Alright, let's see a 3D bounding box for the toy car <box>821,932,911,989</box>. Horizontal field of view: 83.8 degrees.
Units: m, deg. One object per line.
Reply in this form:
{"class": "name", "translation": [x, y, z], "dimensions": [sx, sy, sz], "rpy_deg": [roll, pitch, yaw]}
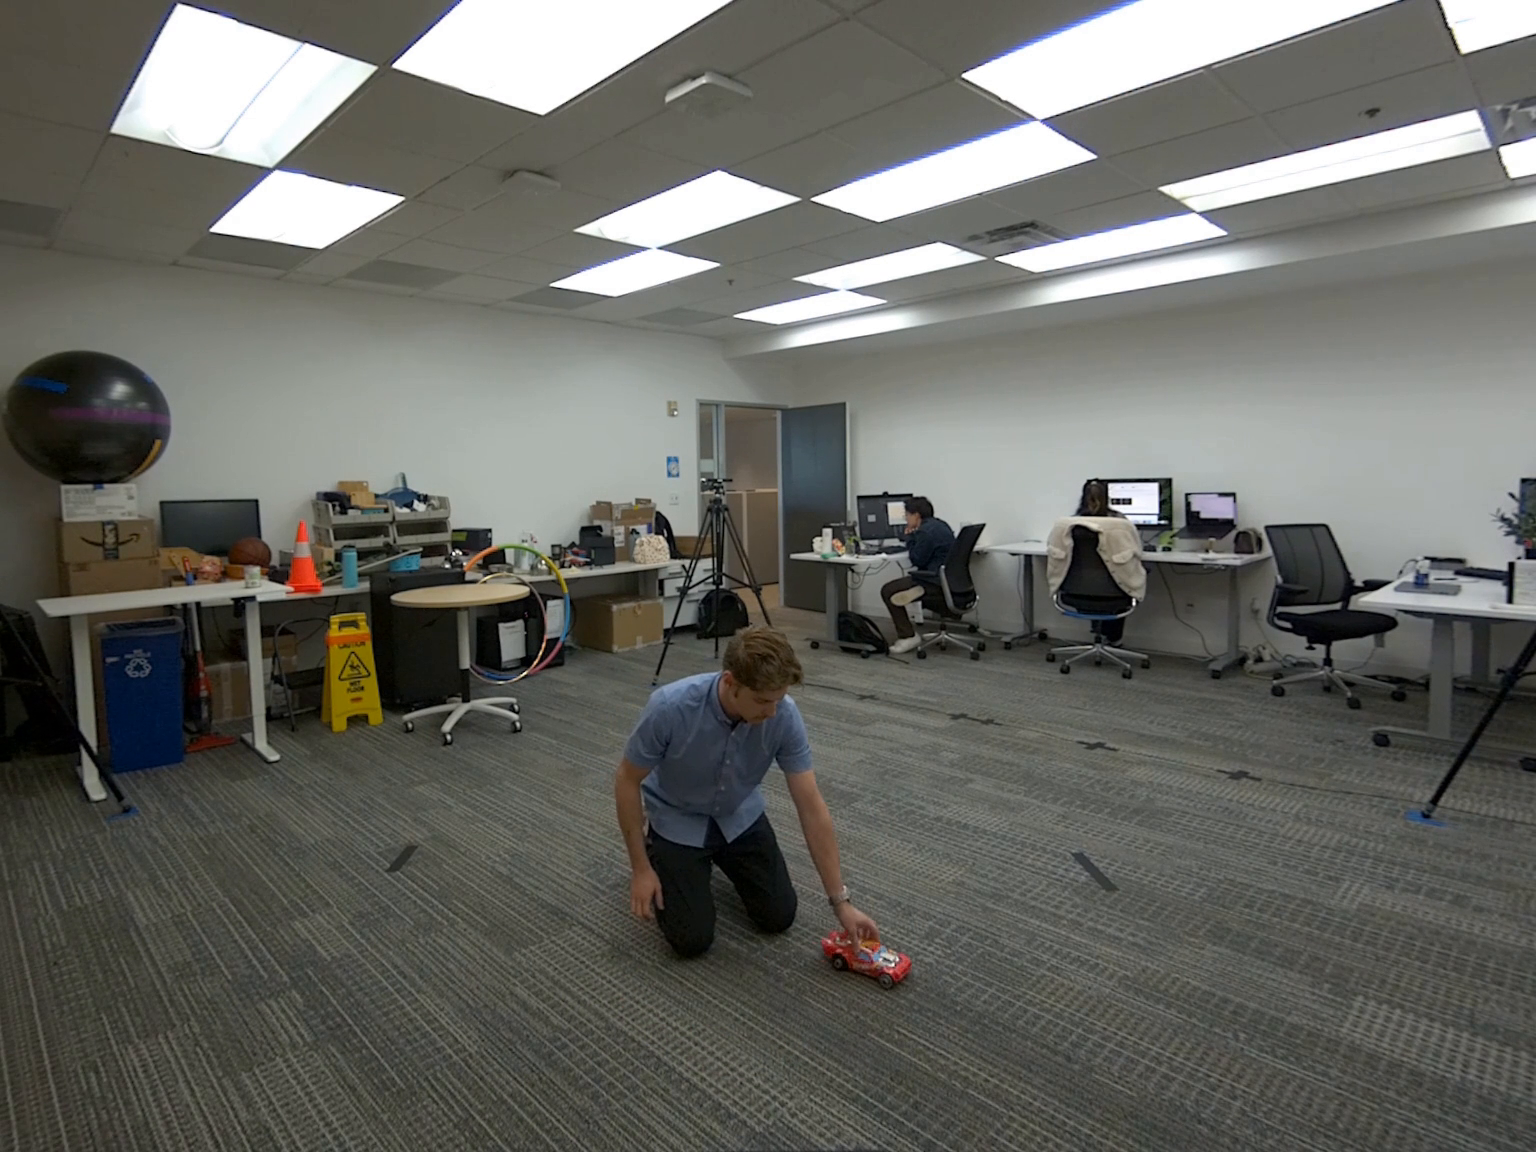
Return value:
{"class": "toy car", "translation": [0.273, 1.082, 2.426], "dimensions": [0.263, 0.082, 0.127], "rpy_deg": [16, 14, 34]}
